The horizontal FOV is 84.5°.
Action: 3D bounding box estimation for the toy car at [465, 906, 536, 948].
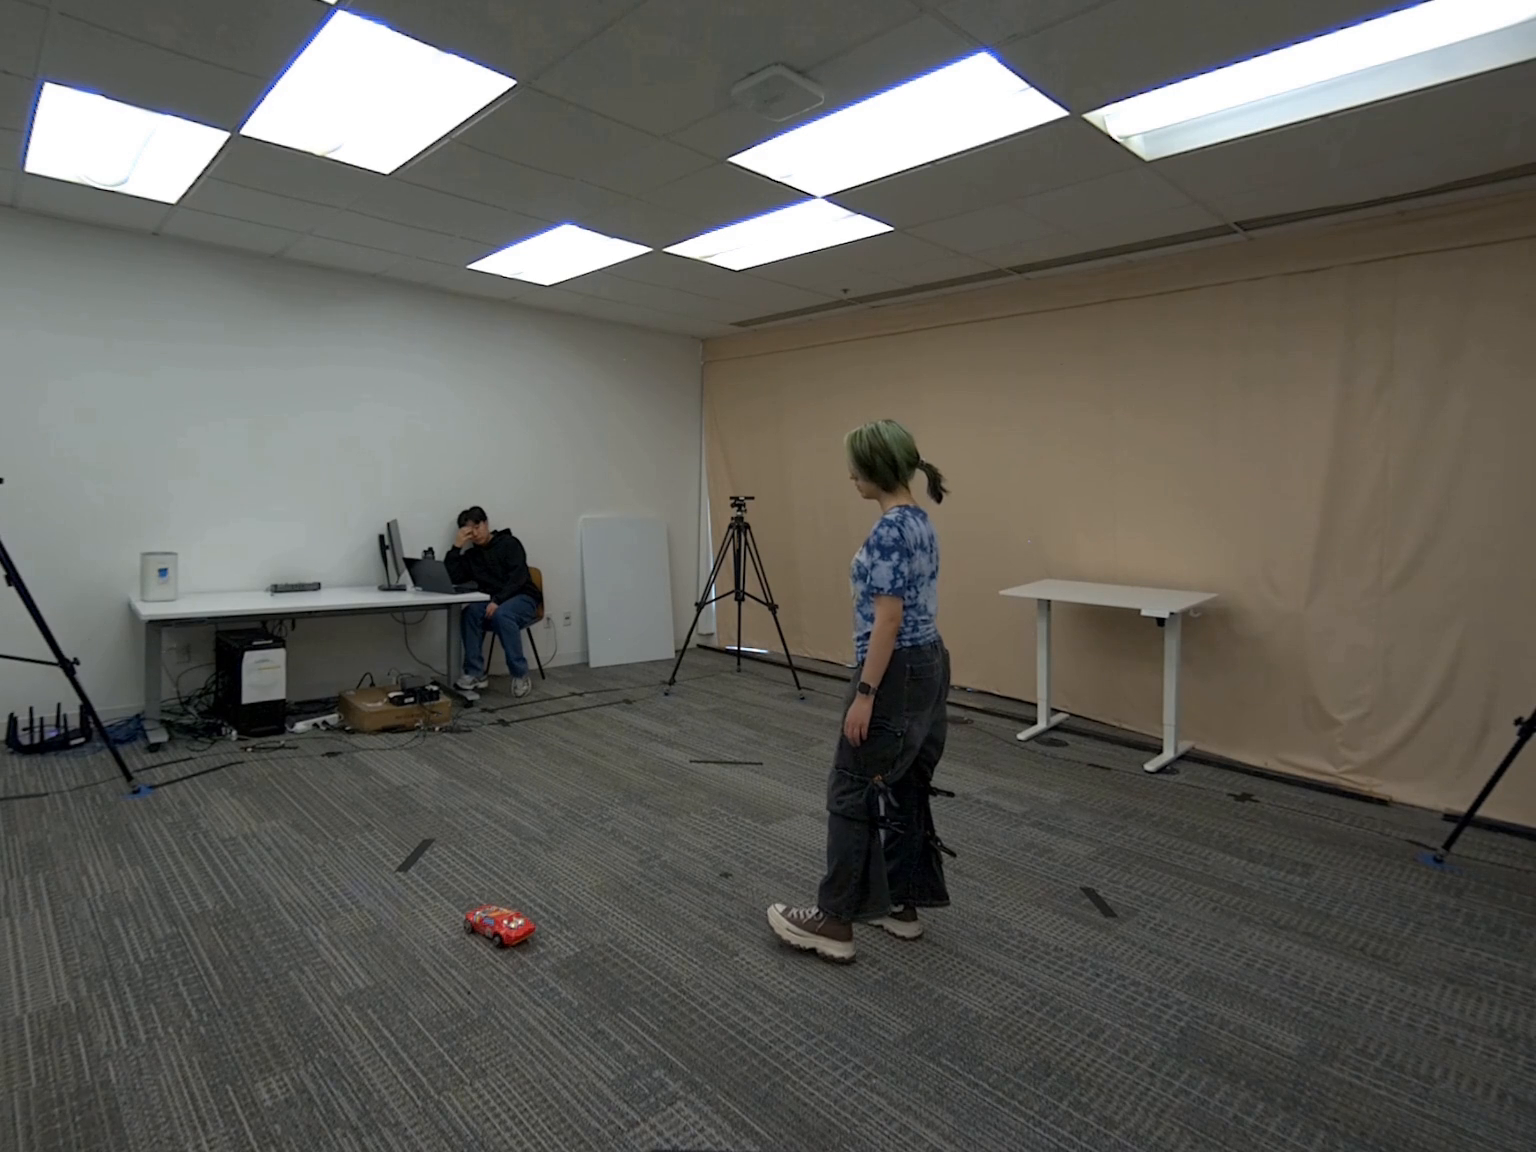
[{"bbox_3d":[-0.838,1.096,2.646,0.259,0.083,0.127,-9,-2,34],"label":"toy car"}]
